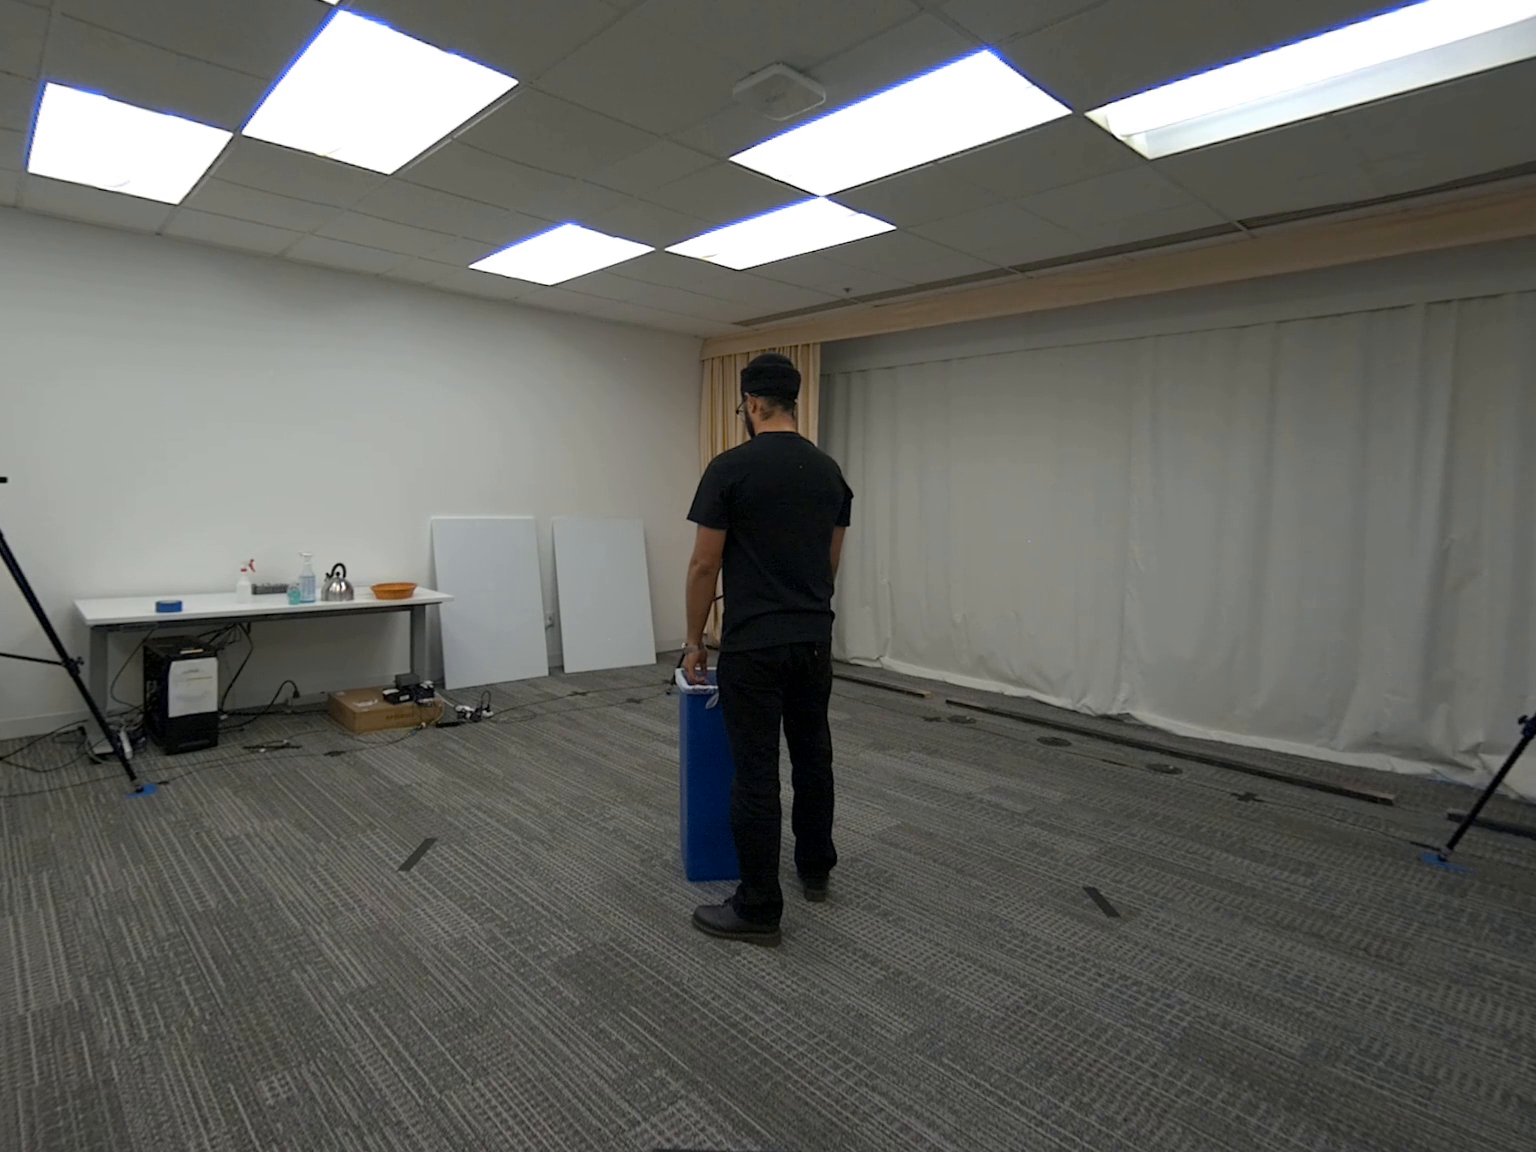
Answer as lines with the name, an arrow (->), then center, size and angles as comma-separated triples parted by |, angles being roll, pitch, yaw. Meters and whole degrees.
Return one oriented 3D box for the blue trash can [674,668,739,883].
blue trash can -> -0.161, 0.733, 3.182 | 0.375, 0.712, 0.377 | 1, 3, -10
